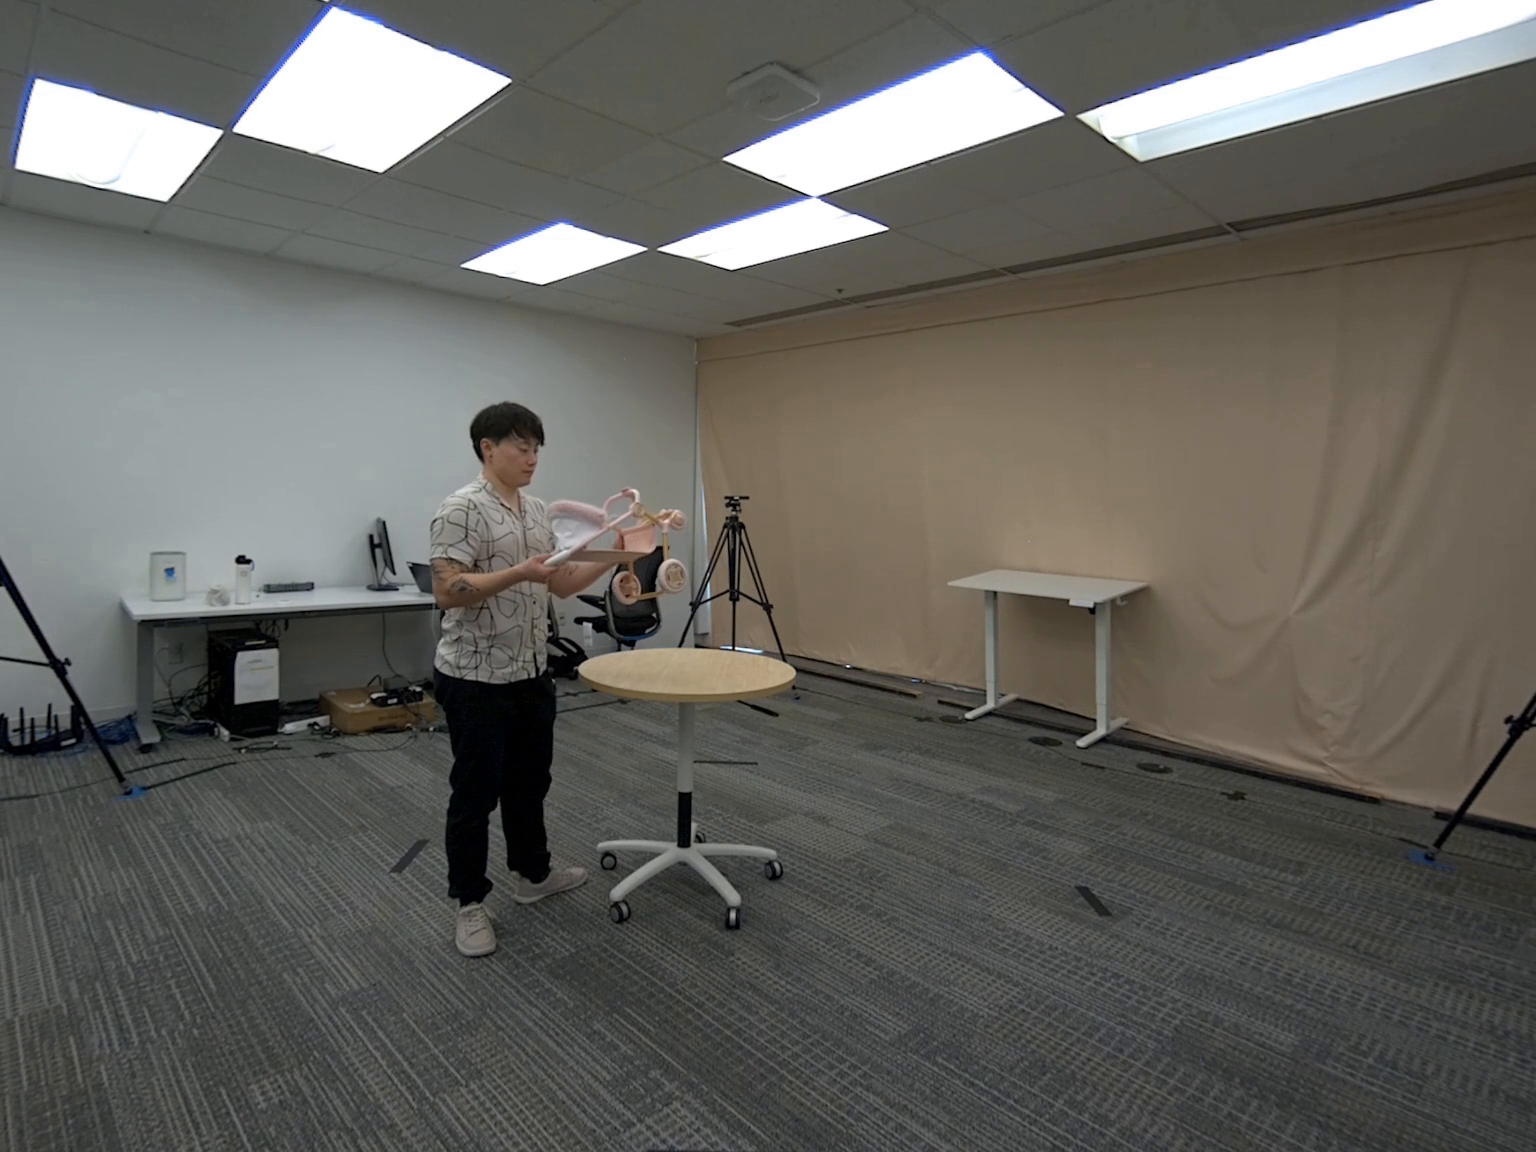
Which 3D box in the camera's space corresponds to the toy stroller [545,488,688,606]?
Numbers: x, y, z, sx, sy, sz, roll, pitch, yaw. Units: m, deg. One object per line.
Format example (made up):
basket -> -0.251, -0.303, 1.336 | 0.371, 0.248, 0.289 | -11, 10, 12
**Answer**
toy stroller -> -0.484, -0.115, 2.654 | 0.520, 0.344, 0.287 | 18, -18, -38
